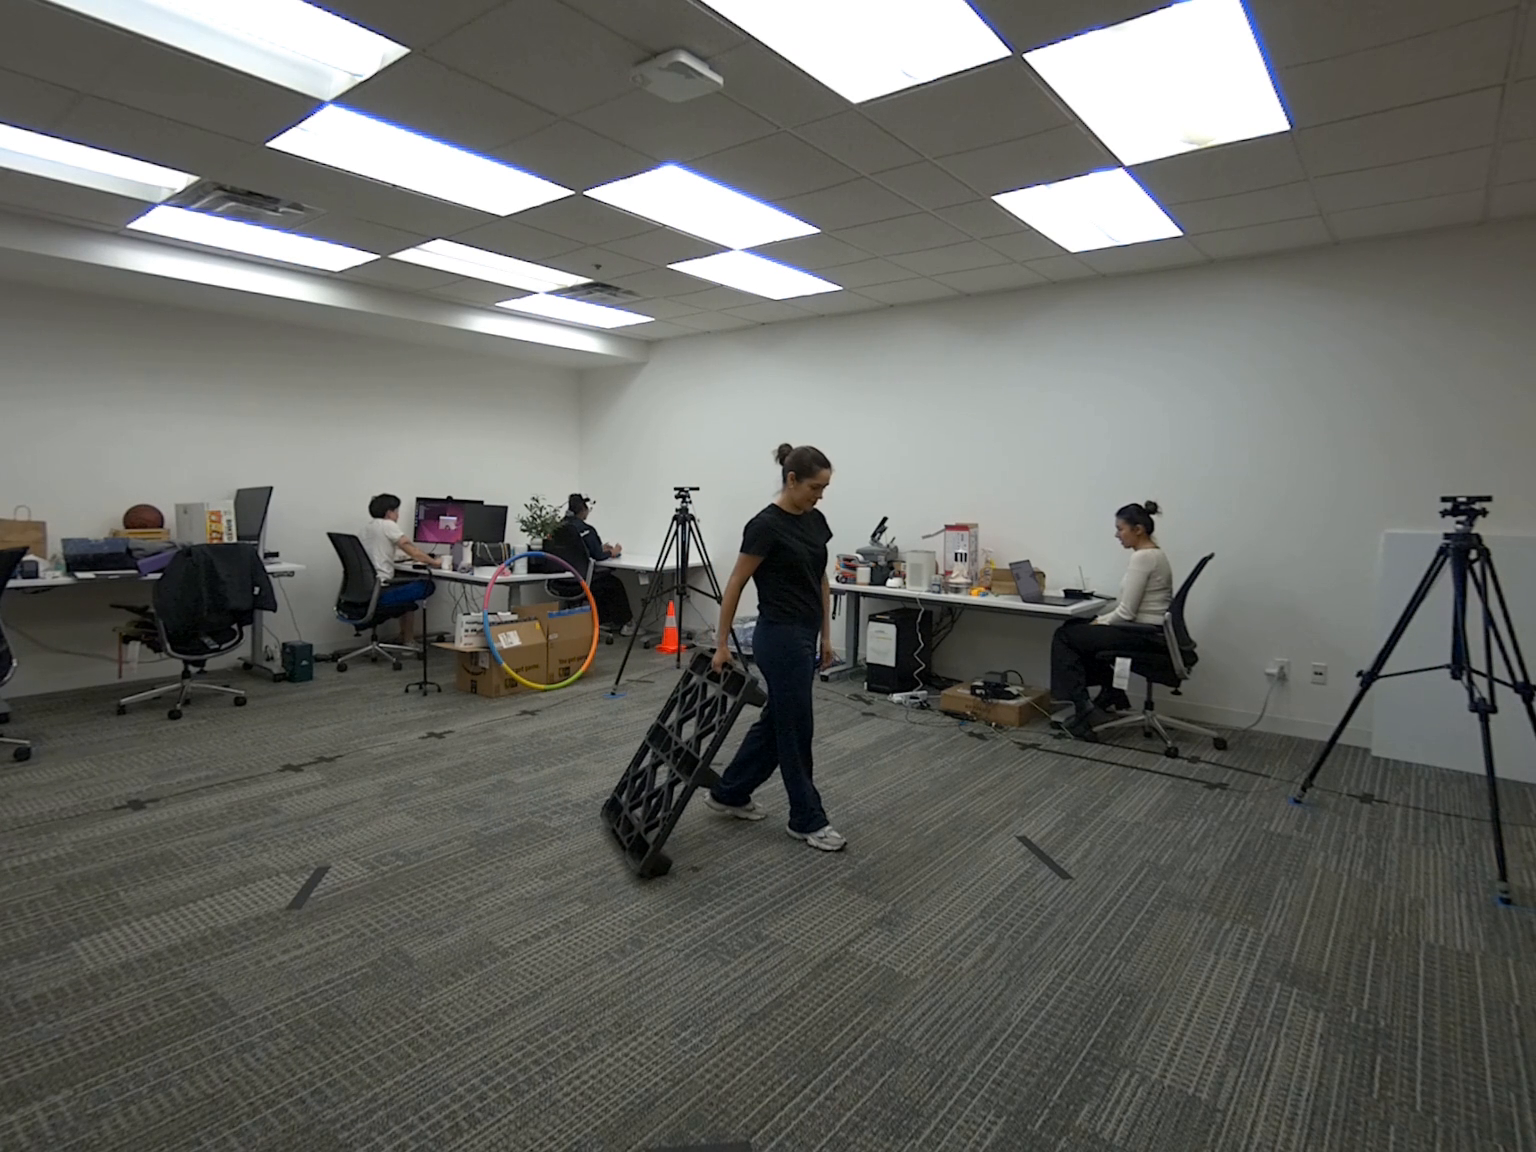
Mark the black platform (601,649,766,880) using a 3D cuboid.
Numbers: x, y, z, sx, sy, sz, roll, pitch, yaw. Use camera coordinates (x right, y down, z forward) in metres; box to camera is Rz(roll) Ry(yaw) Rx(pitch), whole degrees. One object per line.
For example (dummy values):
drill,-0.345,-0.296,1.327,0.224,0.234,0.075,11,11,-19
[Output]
black platform,-0.311,0.698,3.304,0.139,0.807,0.621,33,-8,-22
